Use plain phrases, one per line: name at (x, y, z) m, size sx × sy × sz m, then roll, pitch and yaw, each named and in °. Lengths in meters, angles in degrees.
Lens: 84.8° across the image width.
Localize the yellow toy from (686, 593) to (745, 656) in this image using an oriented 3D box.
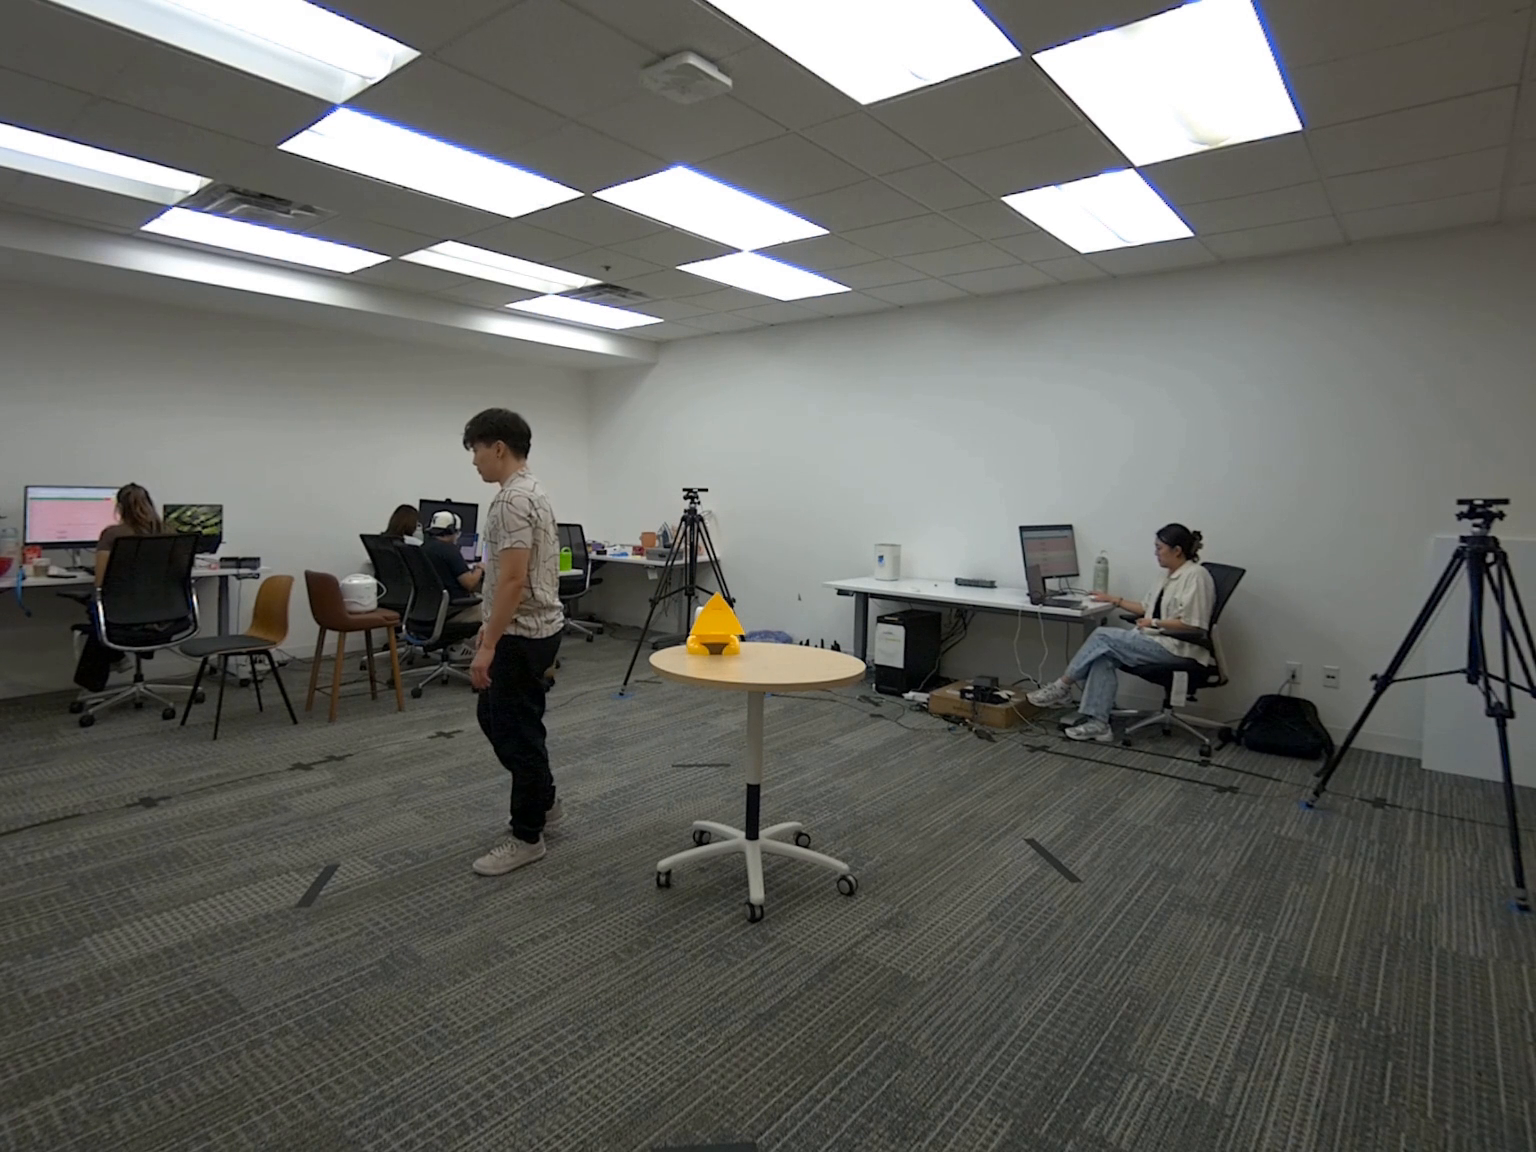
yellow toy at (-0.213, 0.171, 3.172) m, size 0.203 × 0.230 × 0.196 m, roll -1°, pitch 4°, yaw -10°
